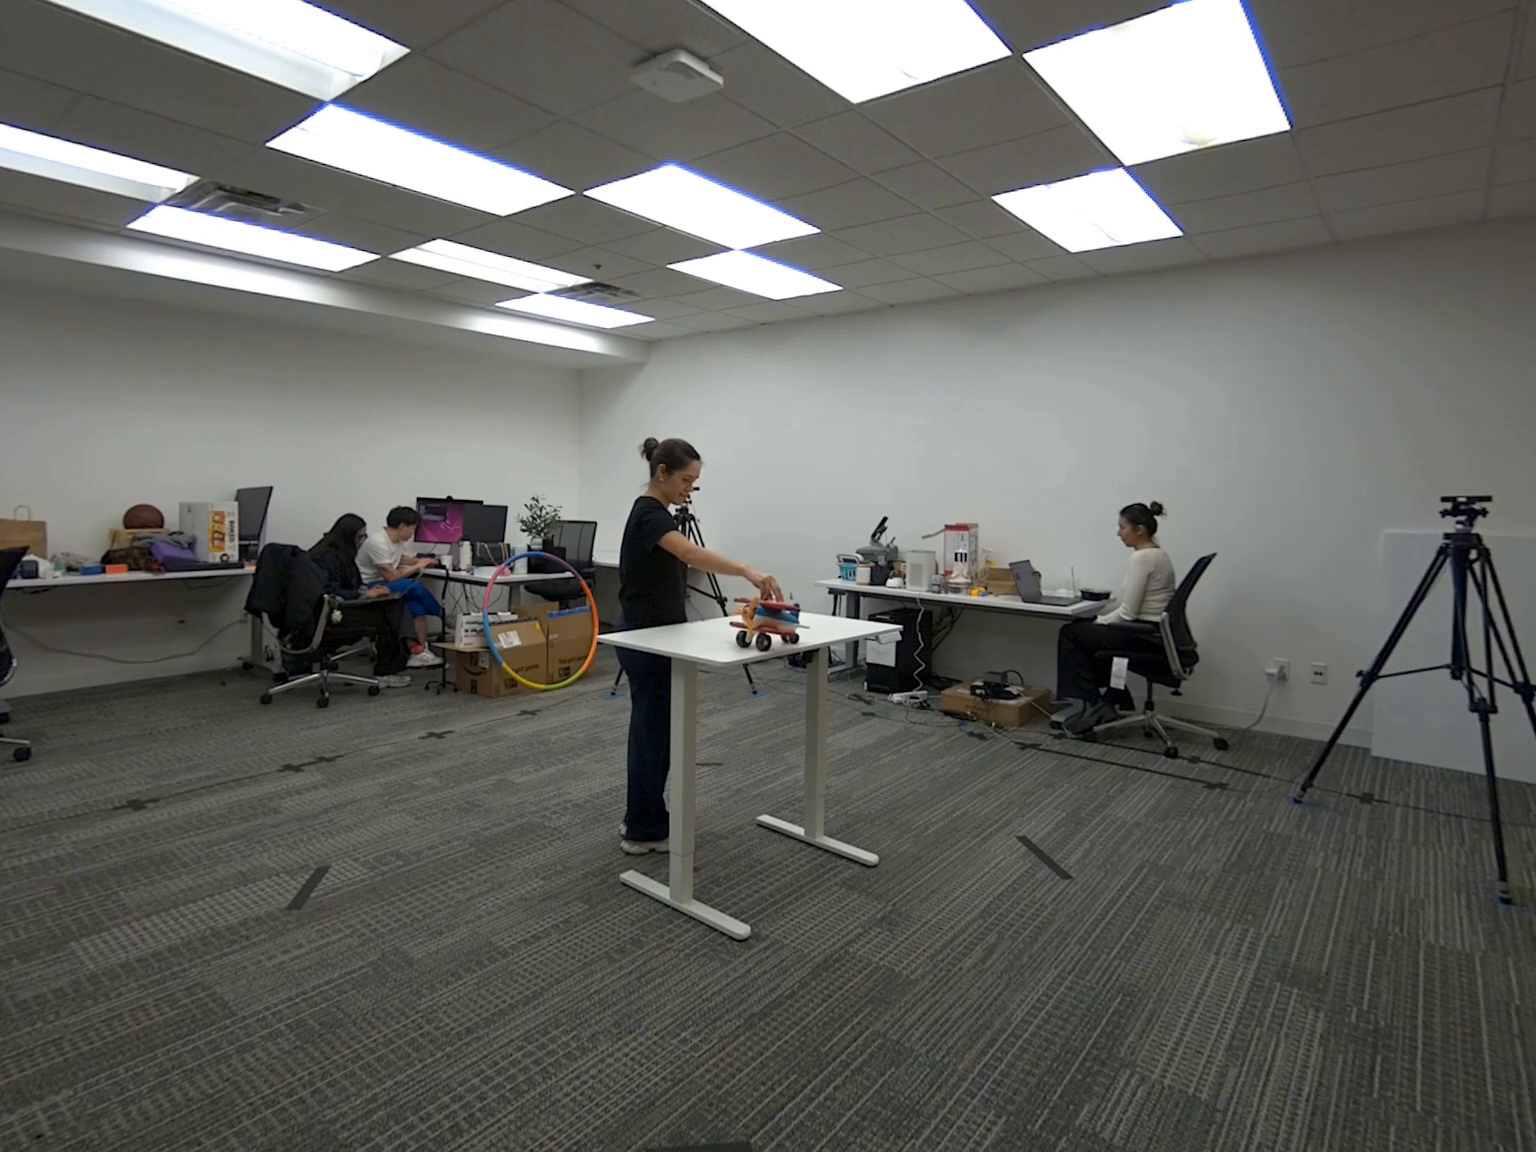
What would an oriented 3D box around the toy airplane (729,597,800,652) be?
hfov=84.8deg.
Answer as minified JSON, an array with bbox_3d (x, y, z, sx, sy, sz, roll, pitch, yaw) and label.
[{"bbox_3d":[0.009,0.146,2.770,0.256,0.156,0.255,2,5,17],"label":"toy airplane"}]
